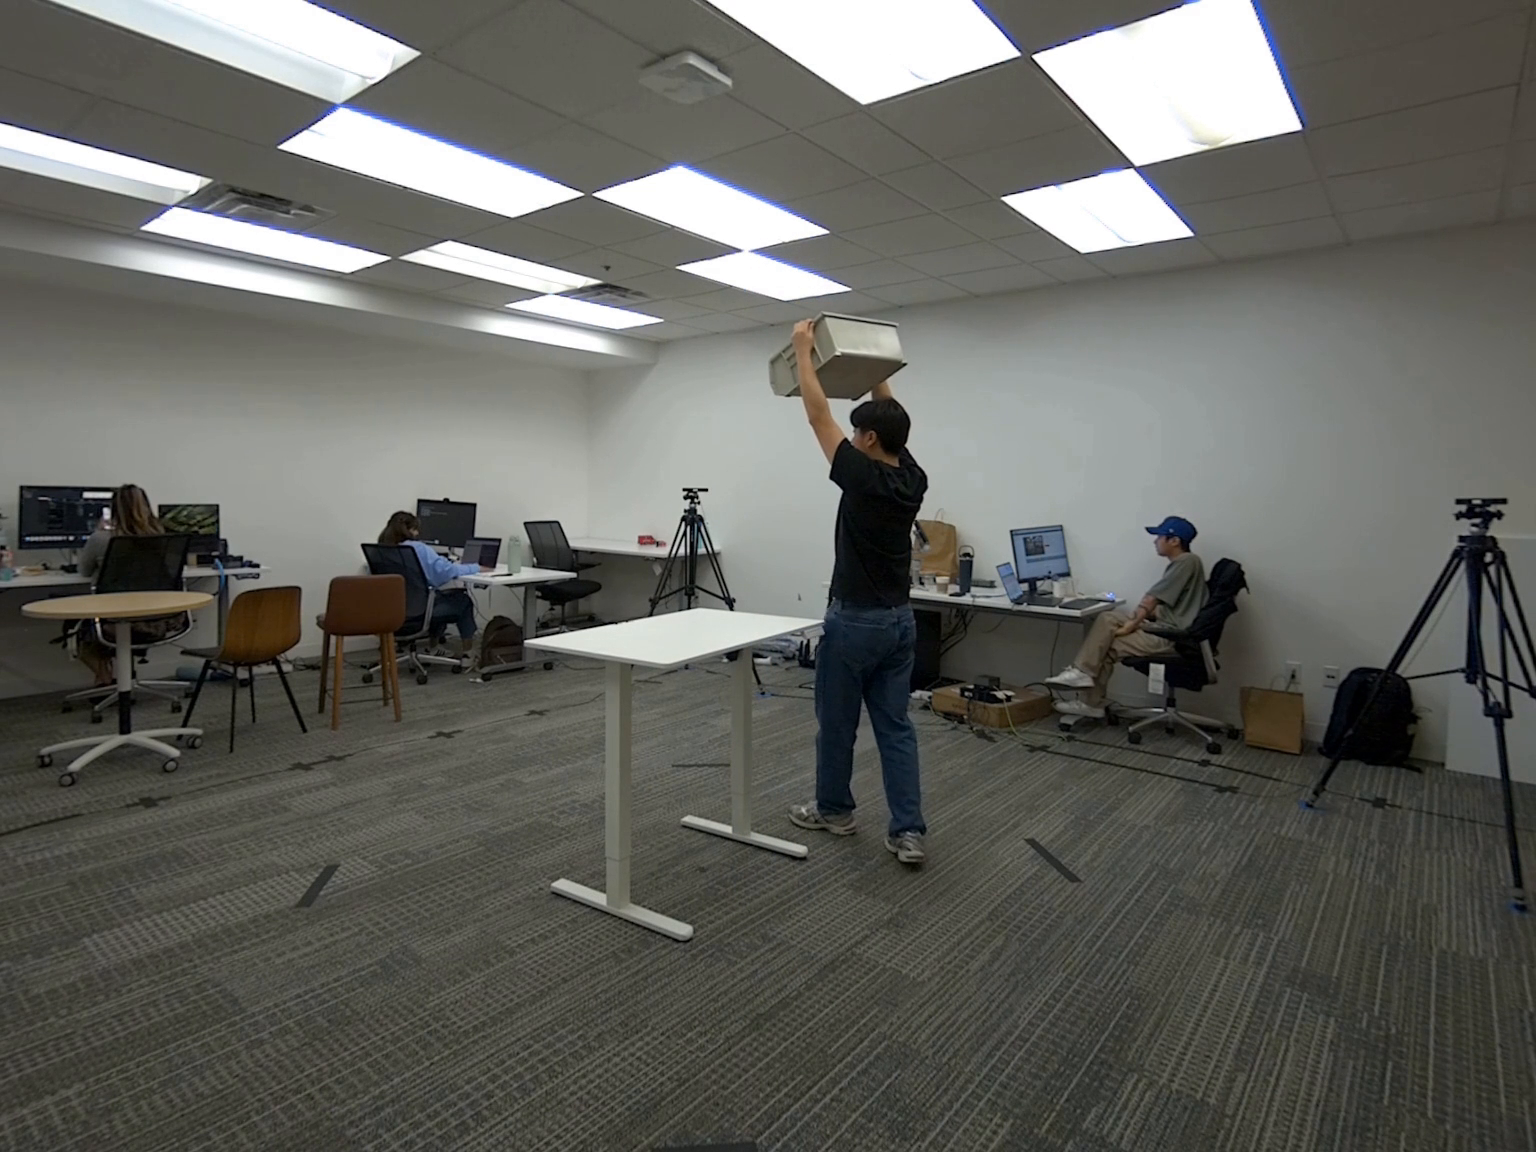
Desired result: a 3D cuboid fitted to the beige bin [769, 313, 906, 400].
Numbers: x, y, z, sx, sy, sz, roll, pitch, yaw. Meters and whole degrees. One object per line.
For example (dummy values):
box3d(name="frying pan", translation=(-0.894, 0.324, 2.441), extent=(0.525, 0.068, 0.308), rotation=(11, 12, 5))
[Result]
box3d(name="beige bin", translation=(0.263, -0.859, 3.418), extent=(0.410, 0.192, 0.381), rotation=(-5, -17, -39))
